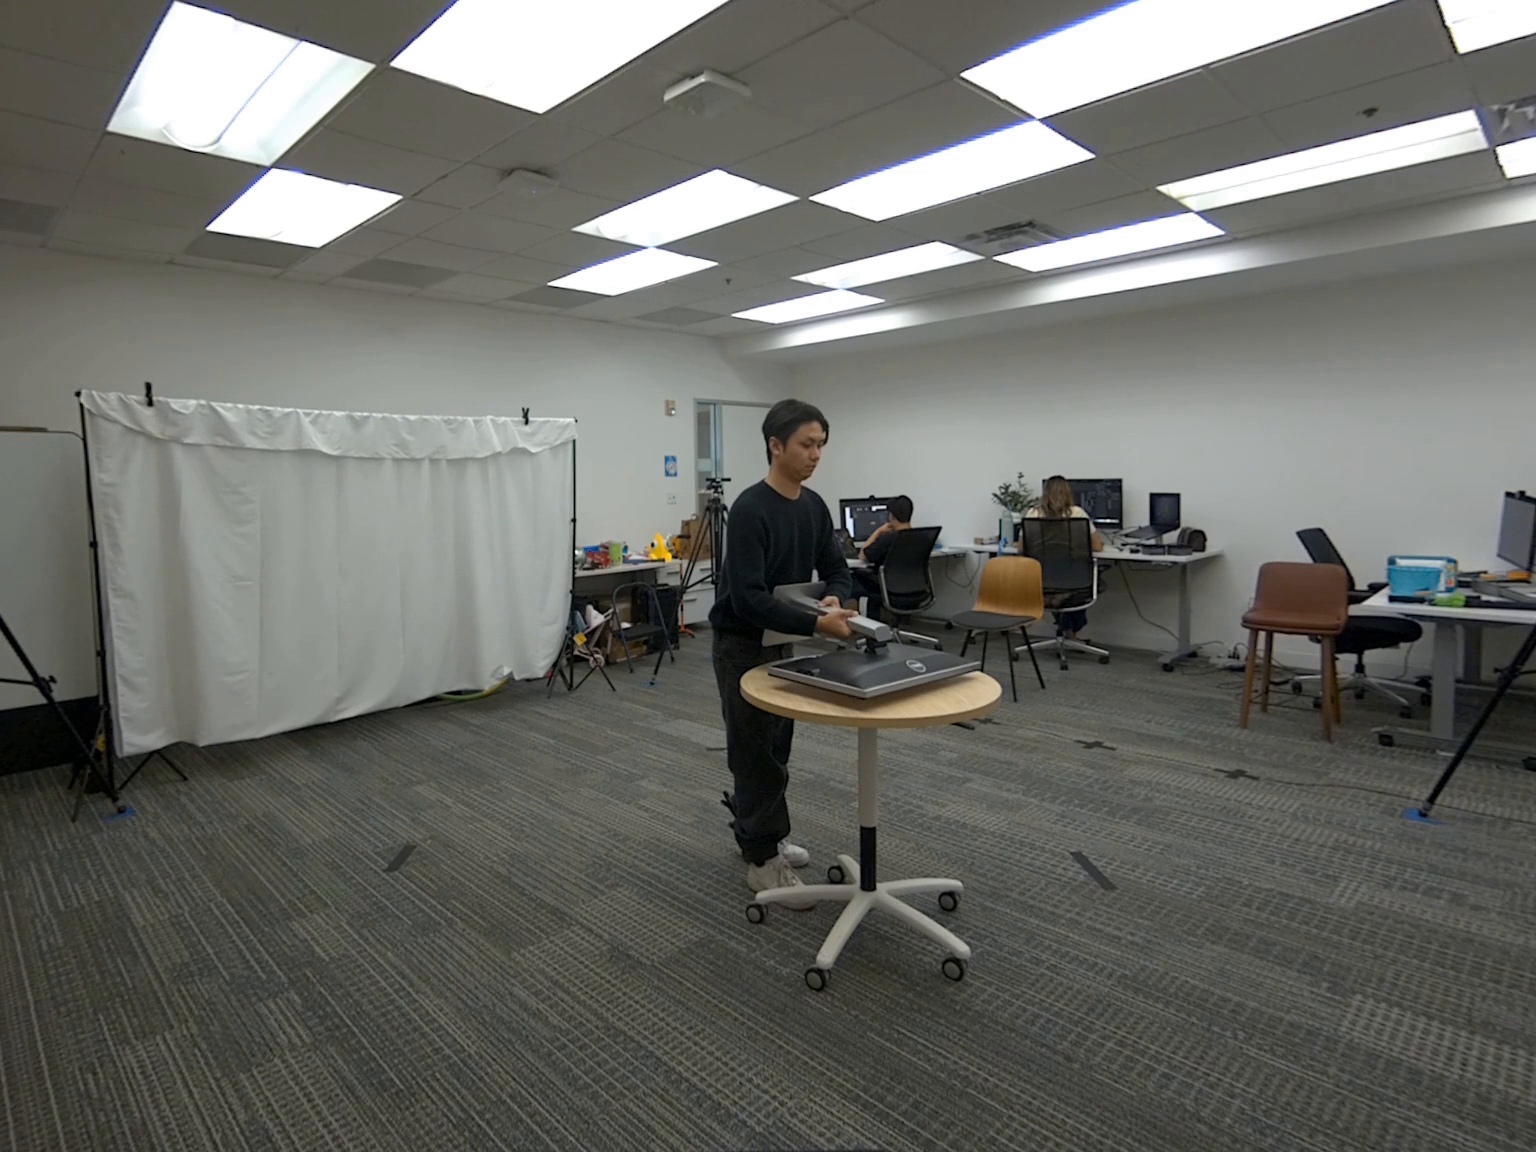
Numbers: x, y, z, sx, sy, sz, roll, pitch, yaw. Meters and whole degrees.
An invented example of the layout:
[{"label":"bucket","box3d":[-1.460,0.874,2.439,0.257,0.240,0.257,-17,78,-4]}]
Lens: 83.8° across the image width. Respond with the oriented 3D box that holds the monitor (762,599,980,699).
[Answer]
[{"label":"monitor","box3d":[0.272,0.206,2.587,0.525,0.185,0.543,-7,23,-41]}]
